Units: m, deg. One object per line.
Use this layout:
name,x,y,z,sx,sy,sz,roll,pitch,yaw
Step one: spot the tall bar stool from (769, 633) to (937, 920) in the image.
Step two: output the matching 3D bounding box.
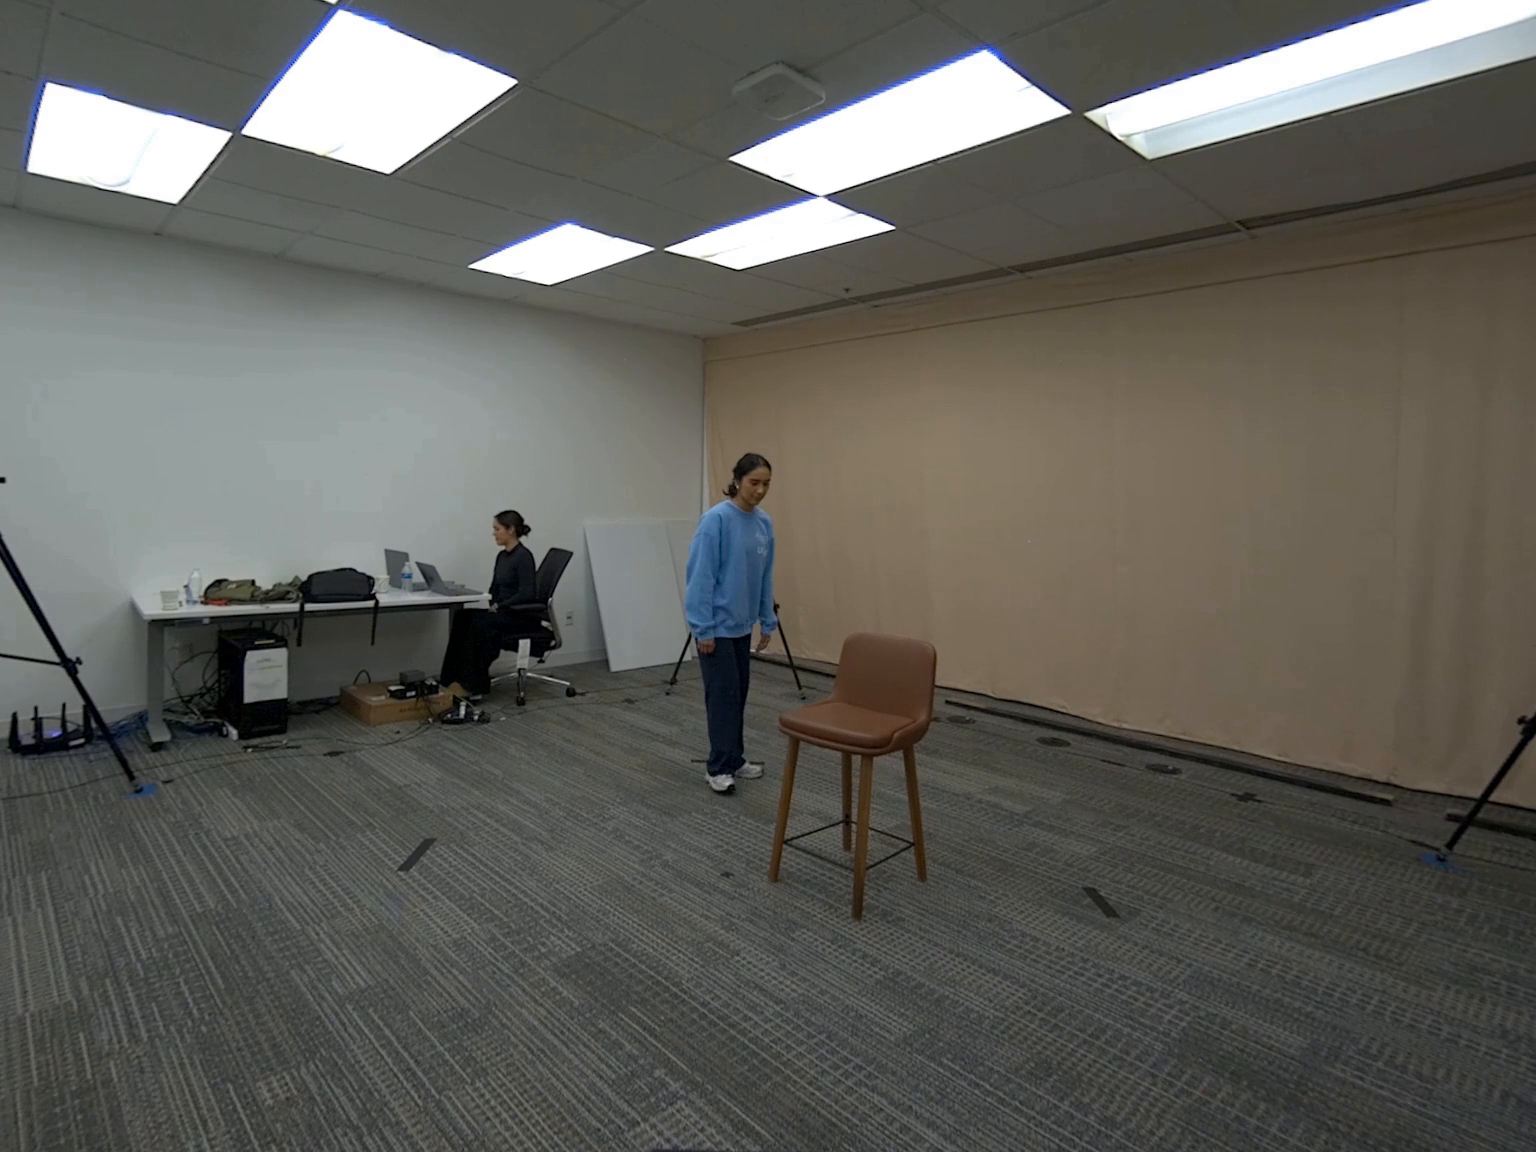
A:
tall bar stool,0.315,0.680,3.056,0.468,0.889,0.456,5,2,44
